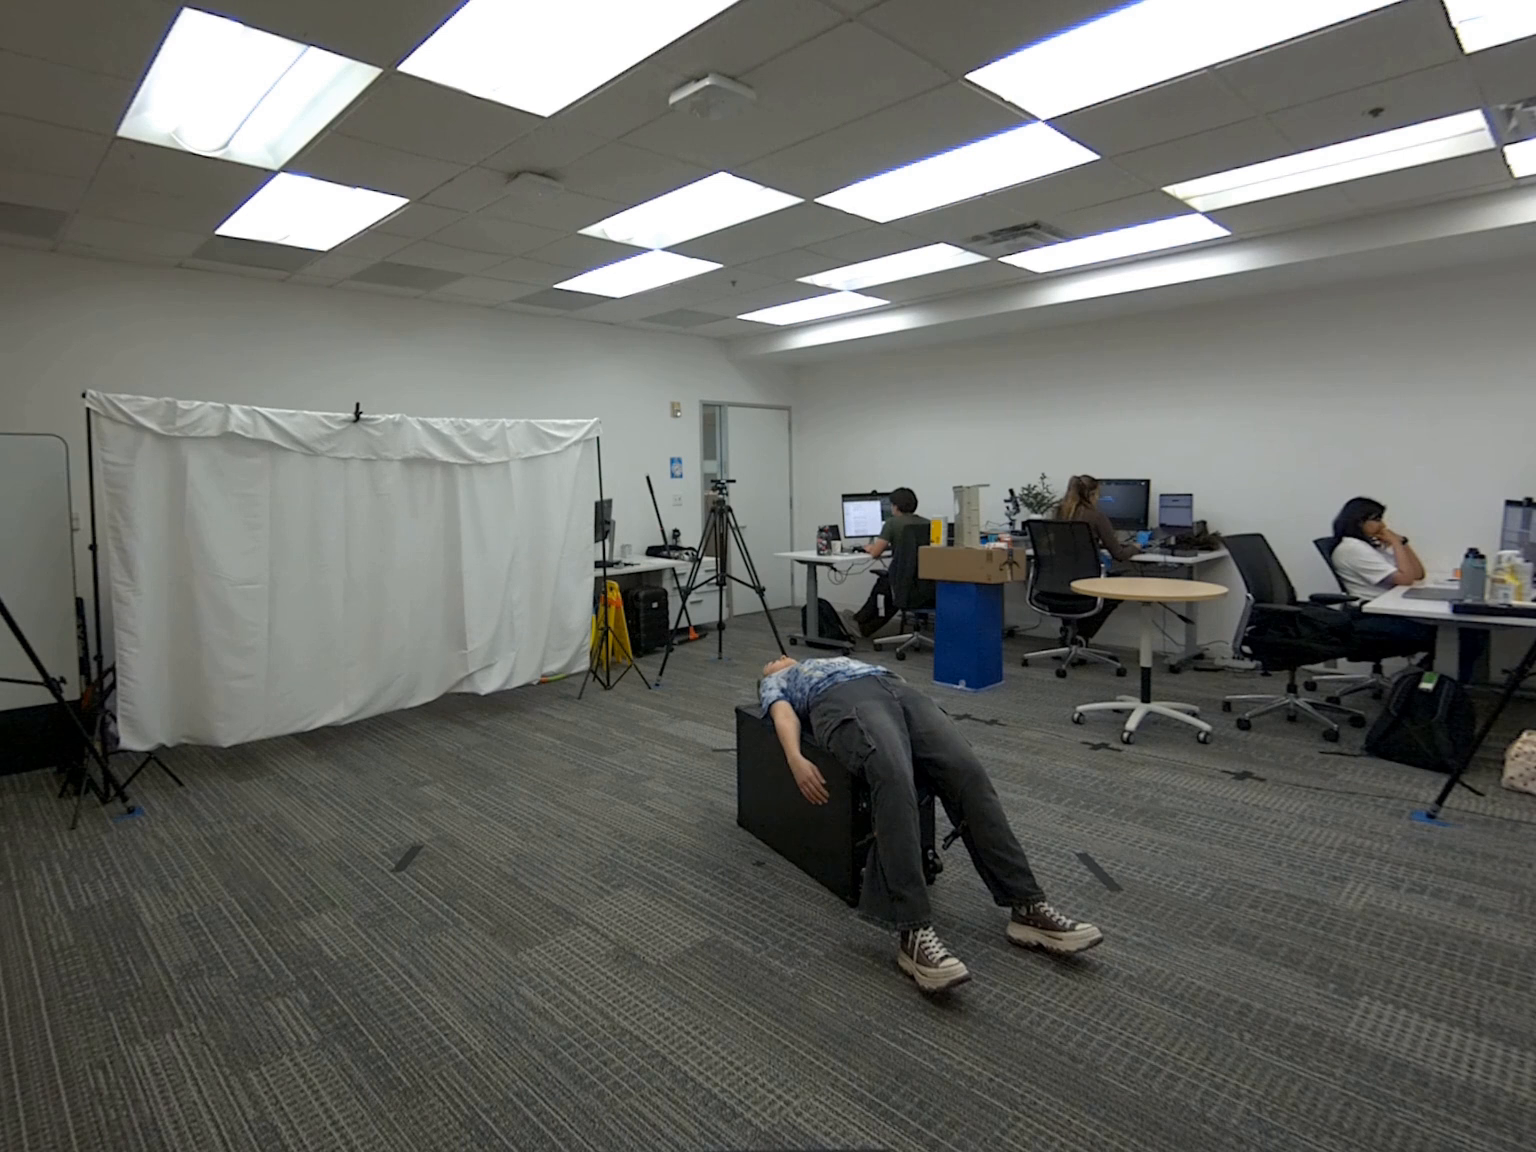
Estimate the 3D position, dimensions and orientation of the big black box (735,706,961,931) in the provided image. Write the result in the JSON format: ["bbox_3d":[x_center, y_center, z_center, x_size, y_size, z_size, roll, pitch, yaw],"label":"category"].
[{"bbox_3d":[0.244,0.794,3.158,0.387,0.519,0.885,-4,7,-28],"label":"big black box"}]
